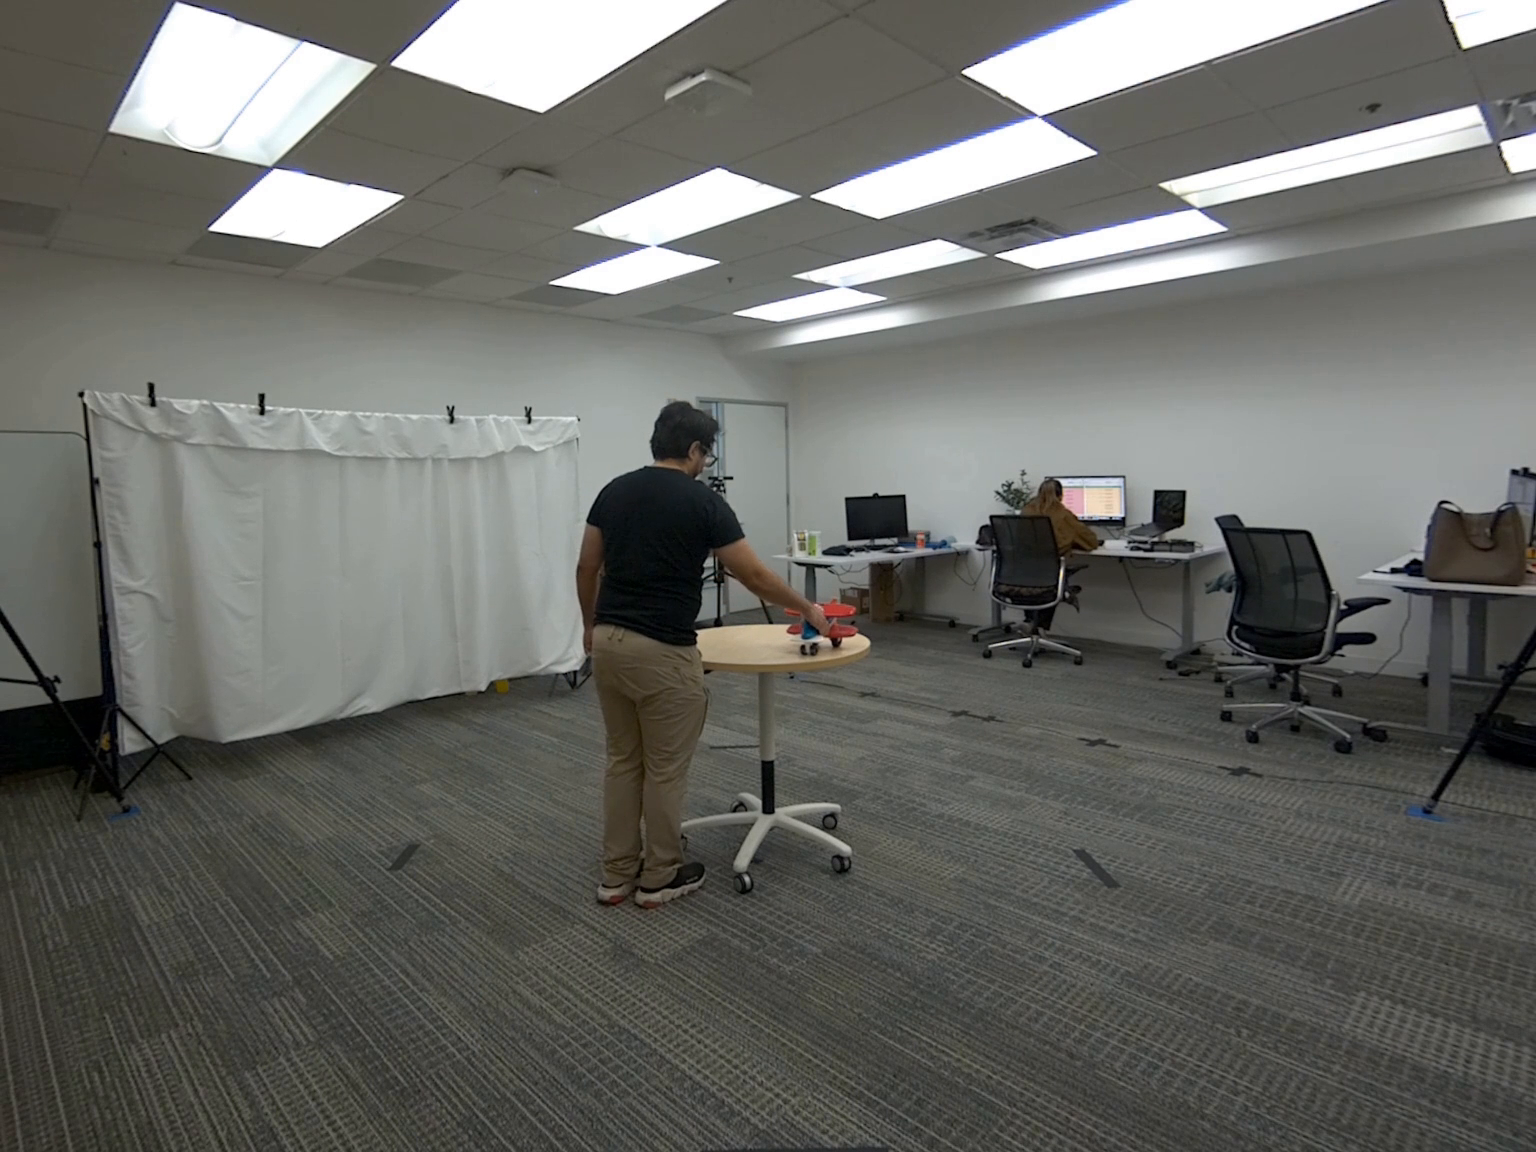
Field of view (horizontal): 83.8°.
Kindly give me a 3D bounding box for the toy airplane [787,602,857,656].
[{"bbox_3d":[0.196,0.181,2.987,0.250,0.156,0.261,-3,5,-5],"label":"toy airplane"}]
